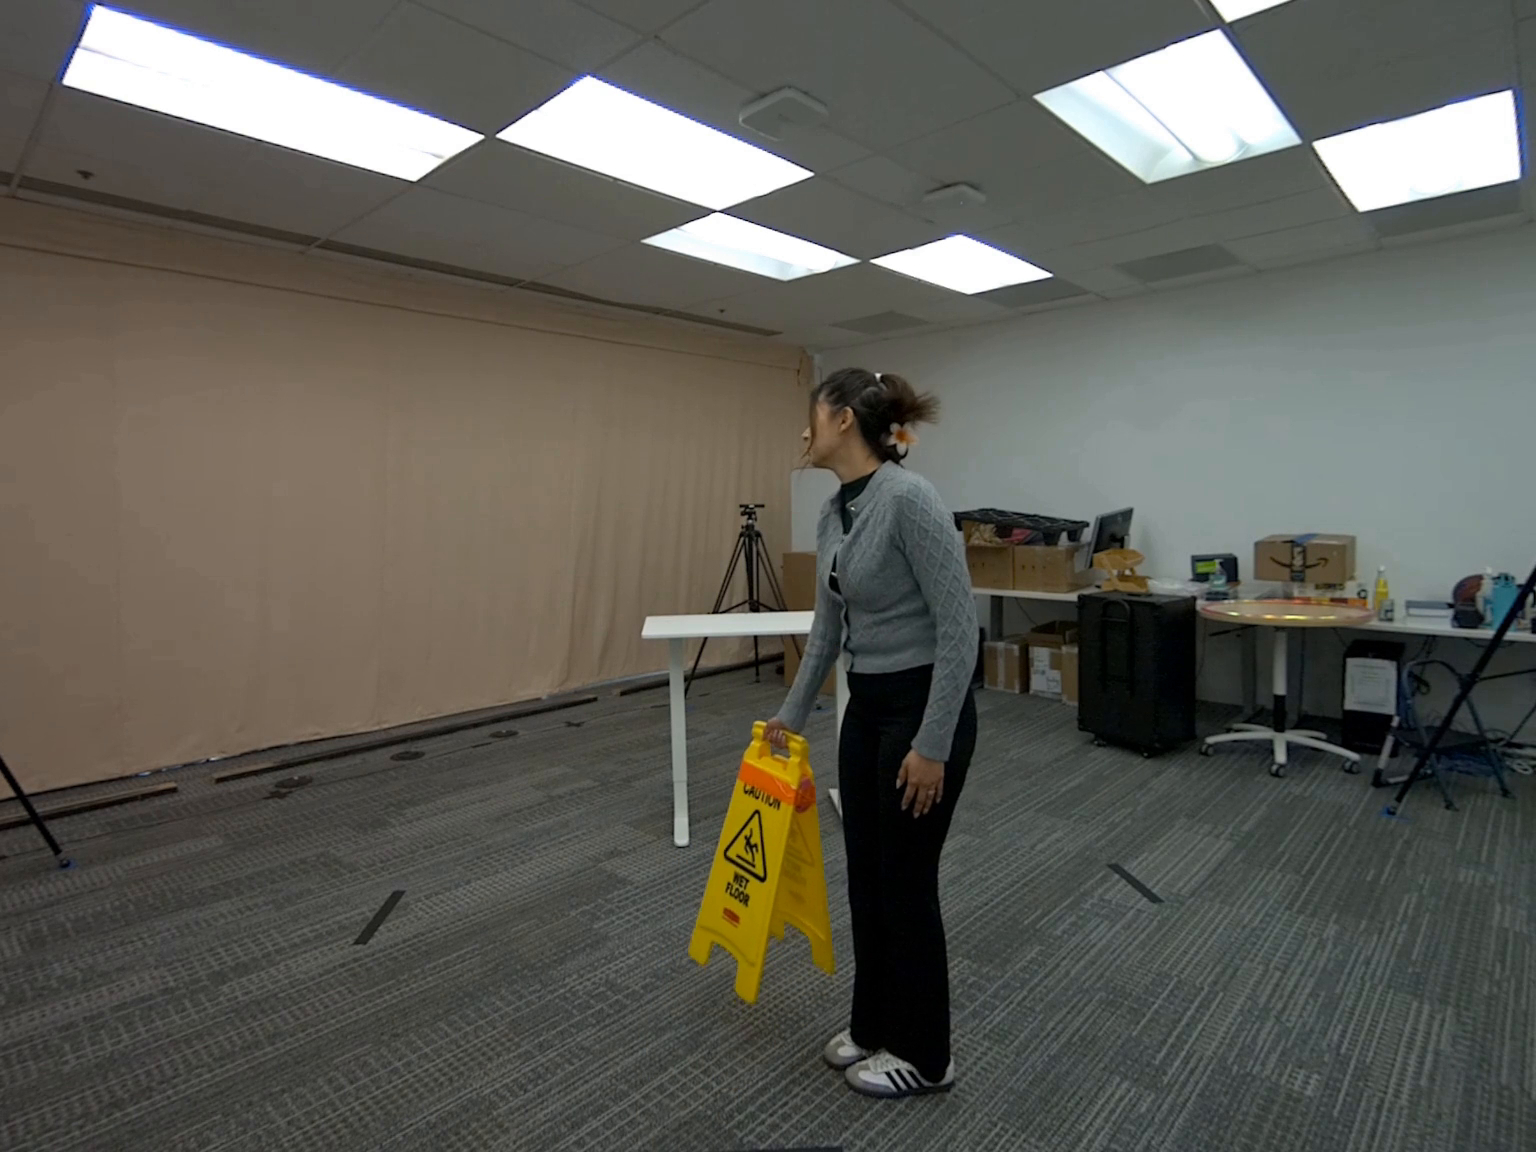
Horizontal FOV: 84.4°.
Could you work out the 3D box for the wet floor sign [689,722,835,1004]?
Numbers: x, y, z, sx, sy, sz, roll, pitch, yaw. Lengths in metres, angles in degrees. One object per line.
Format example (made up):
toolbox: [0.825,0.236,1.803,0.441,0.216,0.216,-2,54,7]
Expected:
wet floor sign: [0.014,0.735,2.260,0.280,0.645,0.292,2,2,-40]
